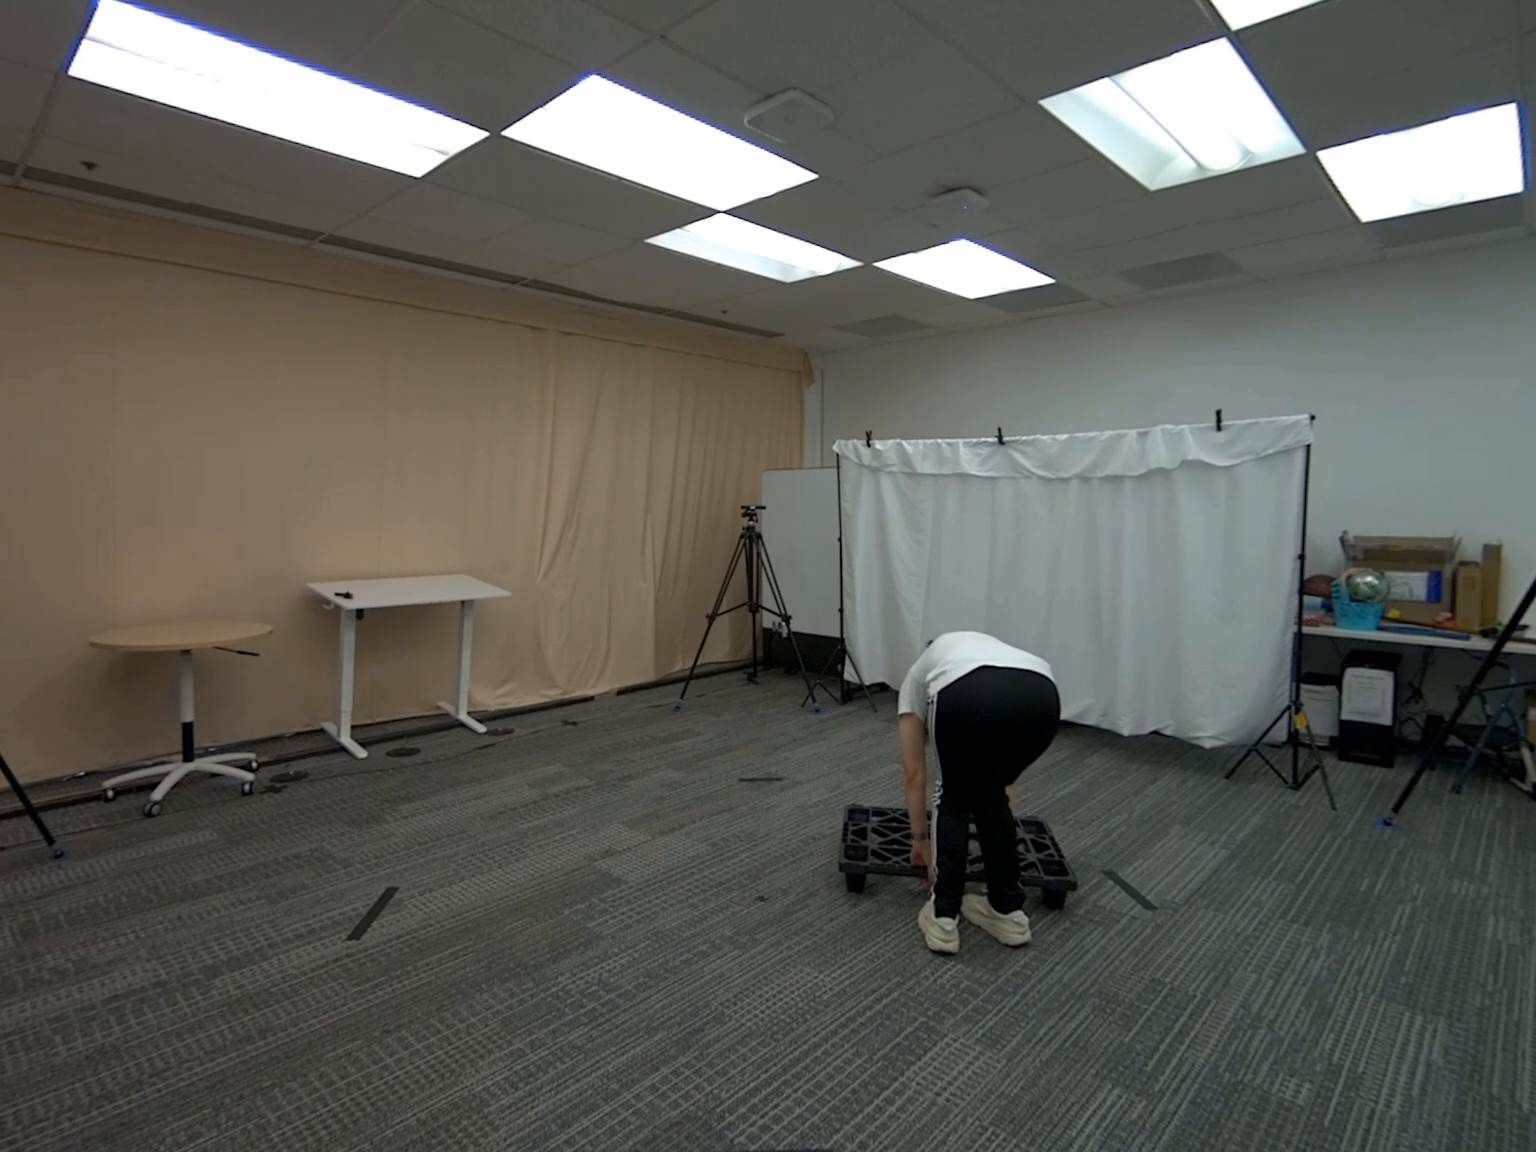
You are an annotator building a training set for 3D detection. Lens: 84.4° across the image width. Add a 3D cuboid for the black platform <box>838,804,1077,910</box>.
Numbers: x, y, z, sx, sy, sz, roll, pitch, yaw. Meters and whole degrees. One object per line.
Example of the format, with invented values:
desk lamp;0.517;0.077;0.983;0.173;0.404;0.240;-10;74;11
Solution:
black platform;0.681;1.055;3.188;0.815;0.143;0.599;1;4;10
